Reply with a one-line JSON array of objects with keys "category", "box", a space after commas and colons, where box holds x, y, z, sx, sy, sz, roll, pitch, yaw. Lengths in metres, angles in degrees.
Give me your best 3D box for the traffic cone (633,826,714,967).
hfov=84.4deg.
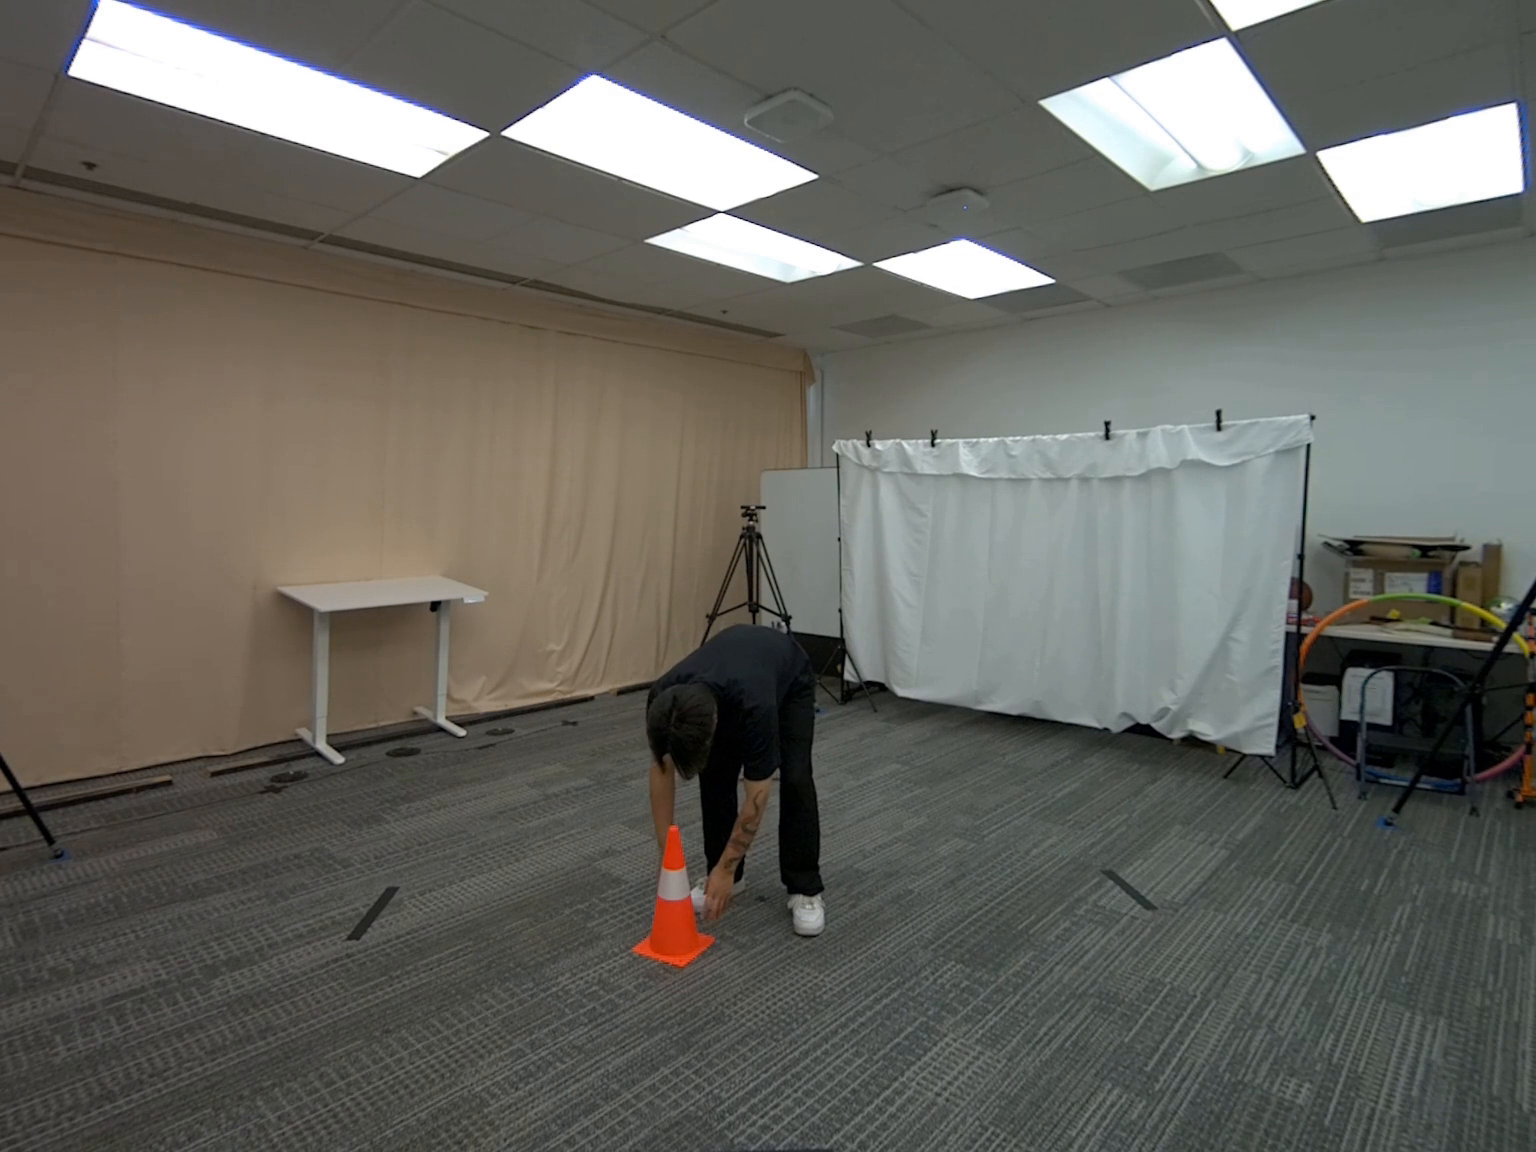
[{"category": "traffic cone", "box": [-0.289, 0.975, 2.675, 0.210, 0.383, 0.199, -1, 2, 38]}]
